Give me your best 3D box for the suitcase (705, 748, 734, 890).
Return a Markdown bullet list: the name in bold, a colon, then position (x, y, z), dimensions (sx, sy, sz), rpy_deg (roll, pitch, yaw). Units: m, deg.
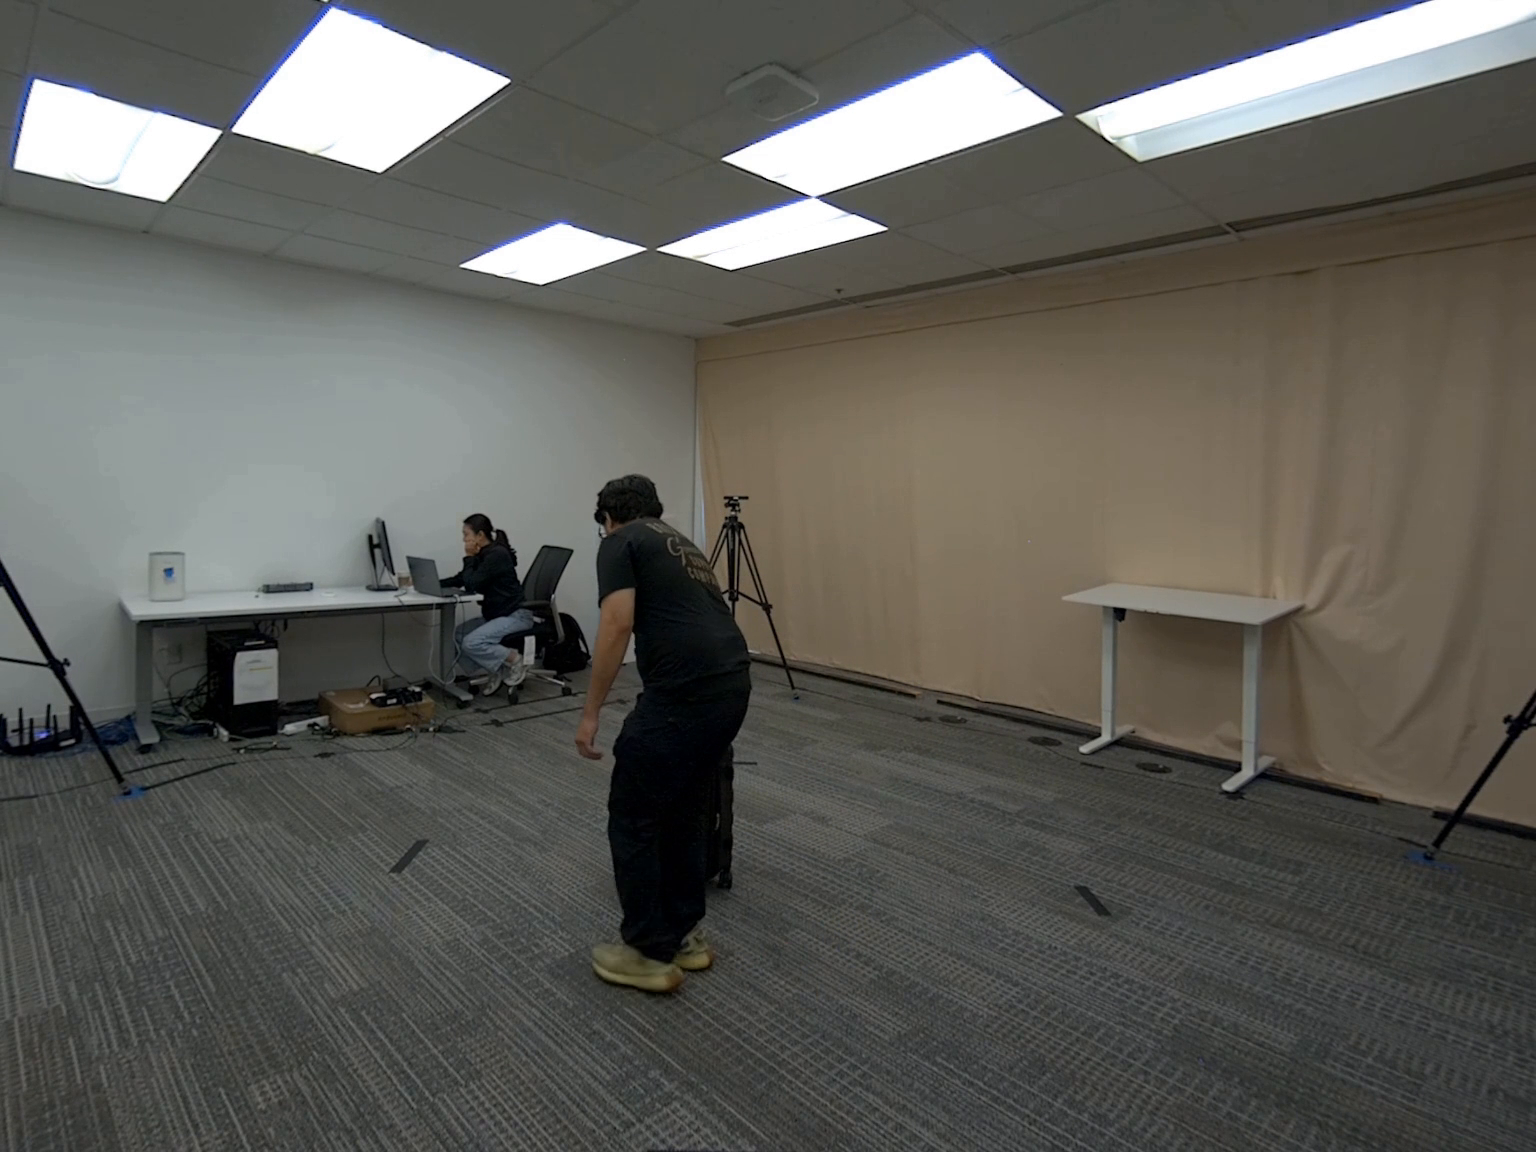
- **suitcase**: position (-0.320, 0.835, 3.034), dimensions (0.385, 0.548, 0.242), rpy_deg (6, 3, 41)
